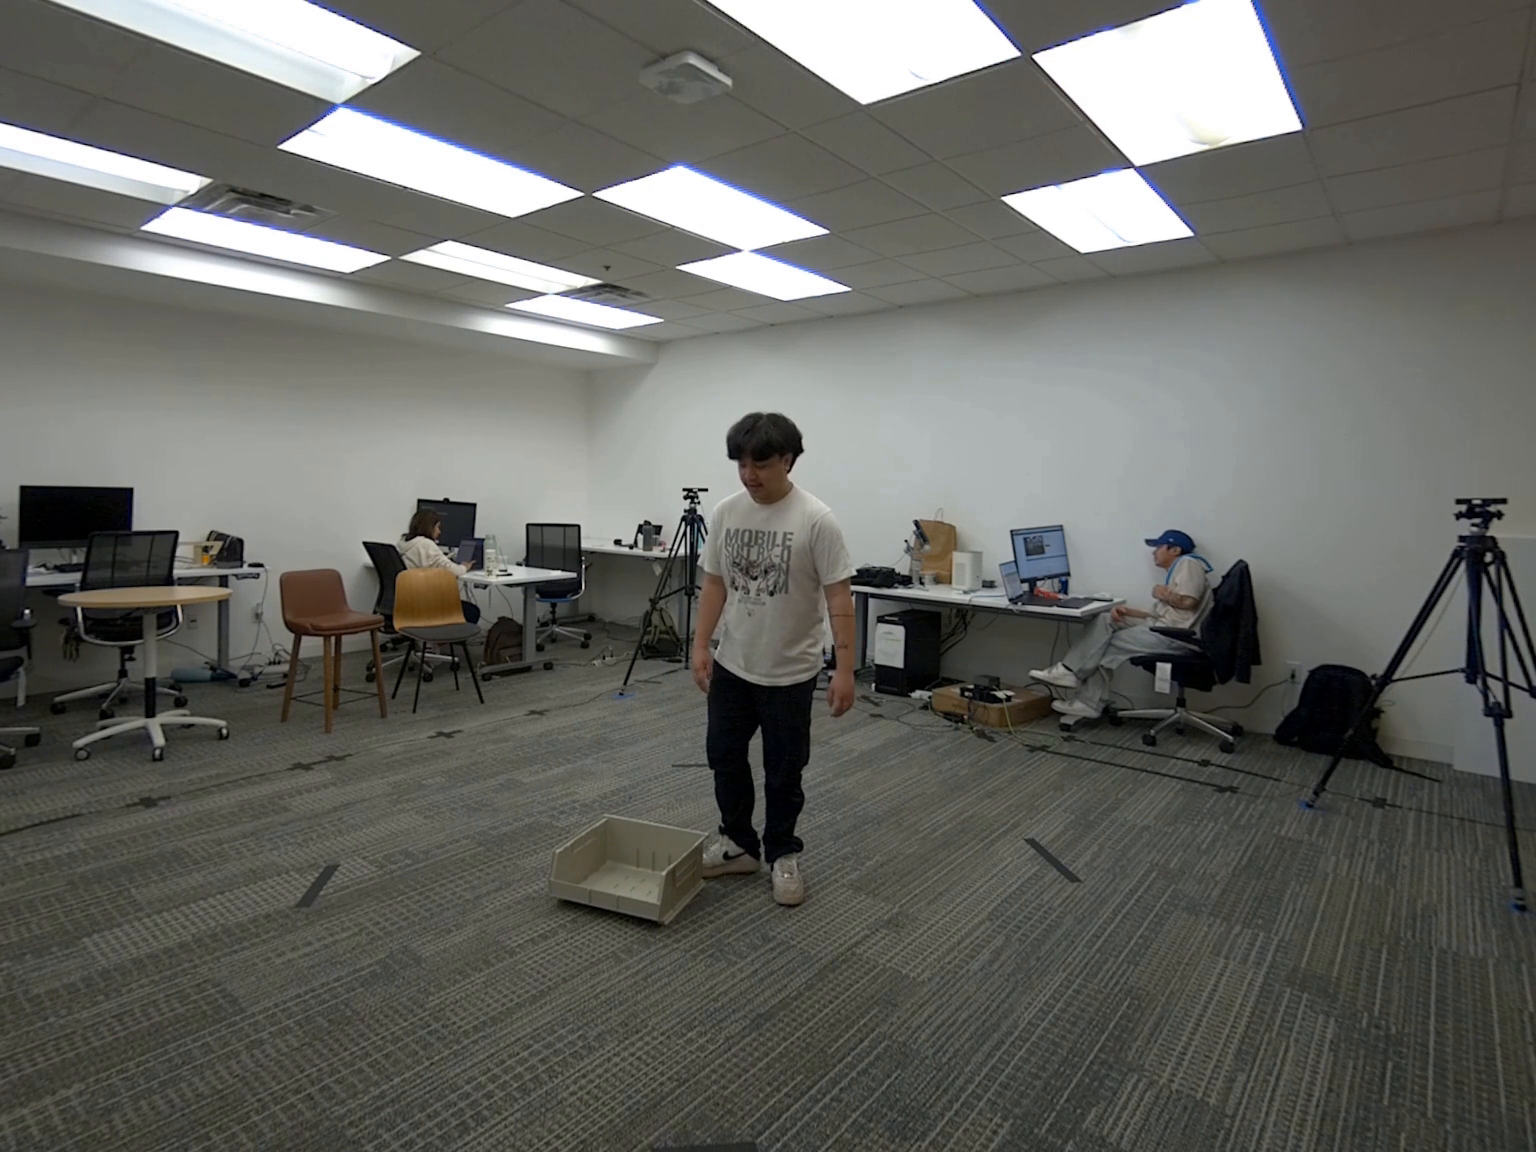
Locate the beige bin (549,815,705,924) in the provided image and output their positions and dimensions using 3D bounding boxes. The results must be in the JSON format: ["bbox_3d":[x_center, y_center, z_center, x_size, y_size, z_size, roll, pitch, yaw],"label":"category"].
[{"bbox_3d":[-0.477,0.998,2.896,0.432,0.188,0.370,2,4,21],"label":"beige bin"}]
